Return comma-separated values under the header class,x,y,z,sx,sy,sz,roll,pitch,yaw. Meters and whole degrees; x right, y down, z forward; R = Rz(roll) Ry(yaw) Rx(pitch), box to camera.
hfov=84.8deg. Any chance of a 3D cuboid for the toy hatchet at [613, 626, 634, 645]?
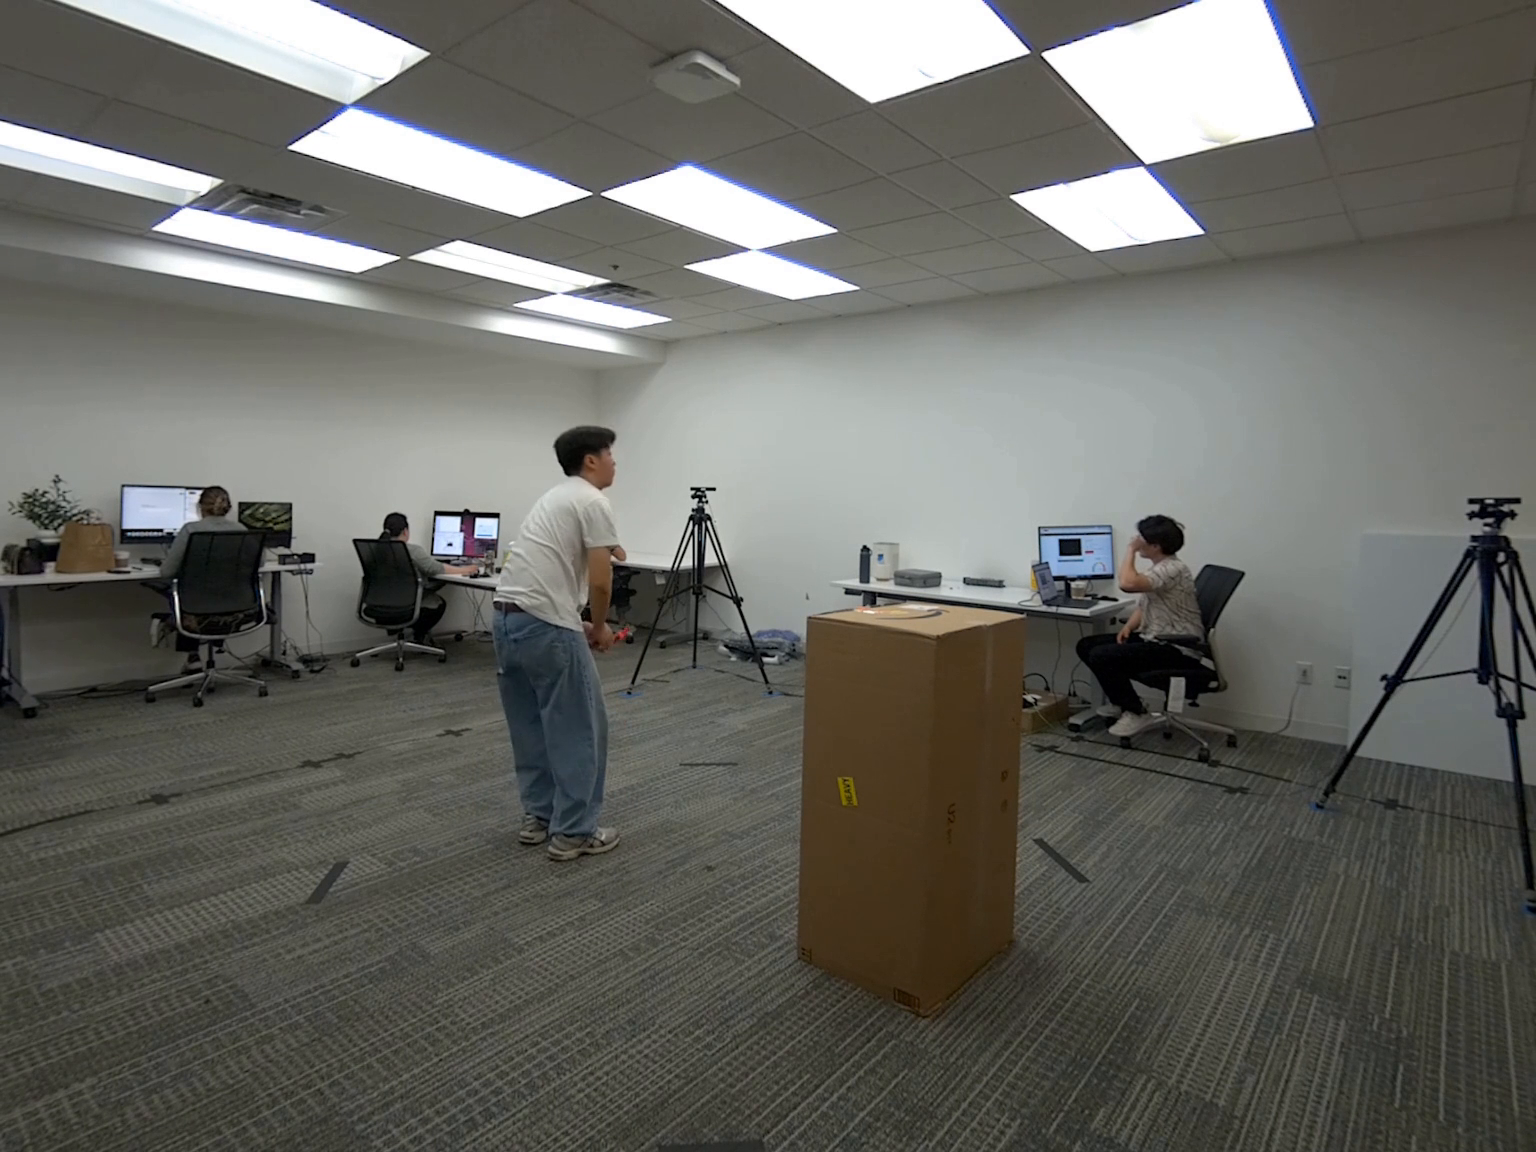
class,x,y,z,sx,sy,sz,roll,pitch,yaw
toy hatchet,-0.678,0.328,3.489,0.131,0.029,0.269,-42,1,31
